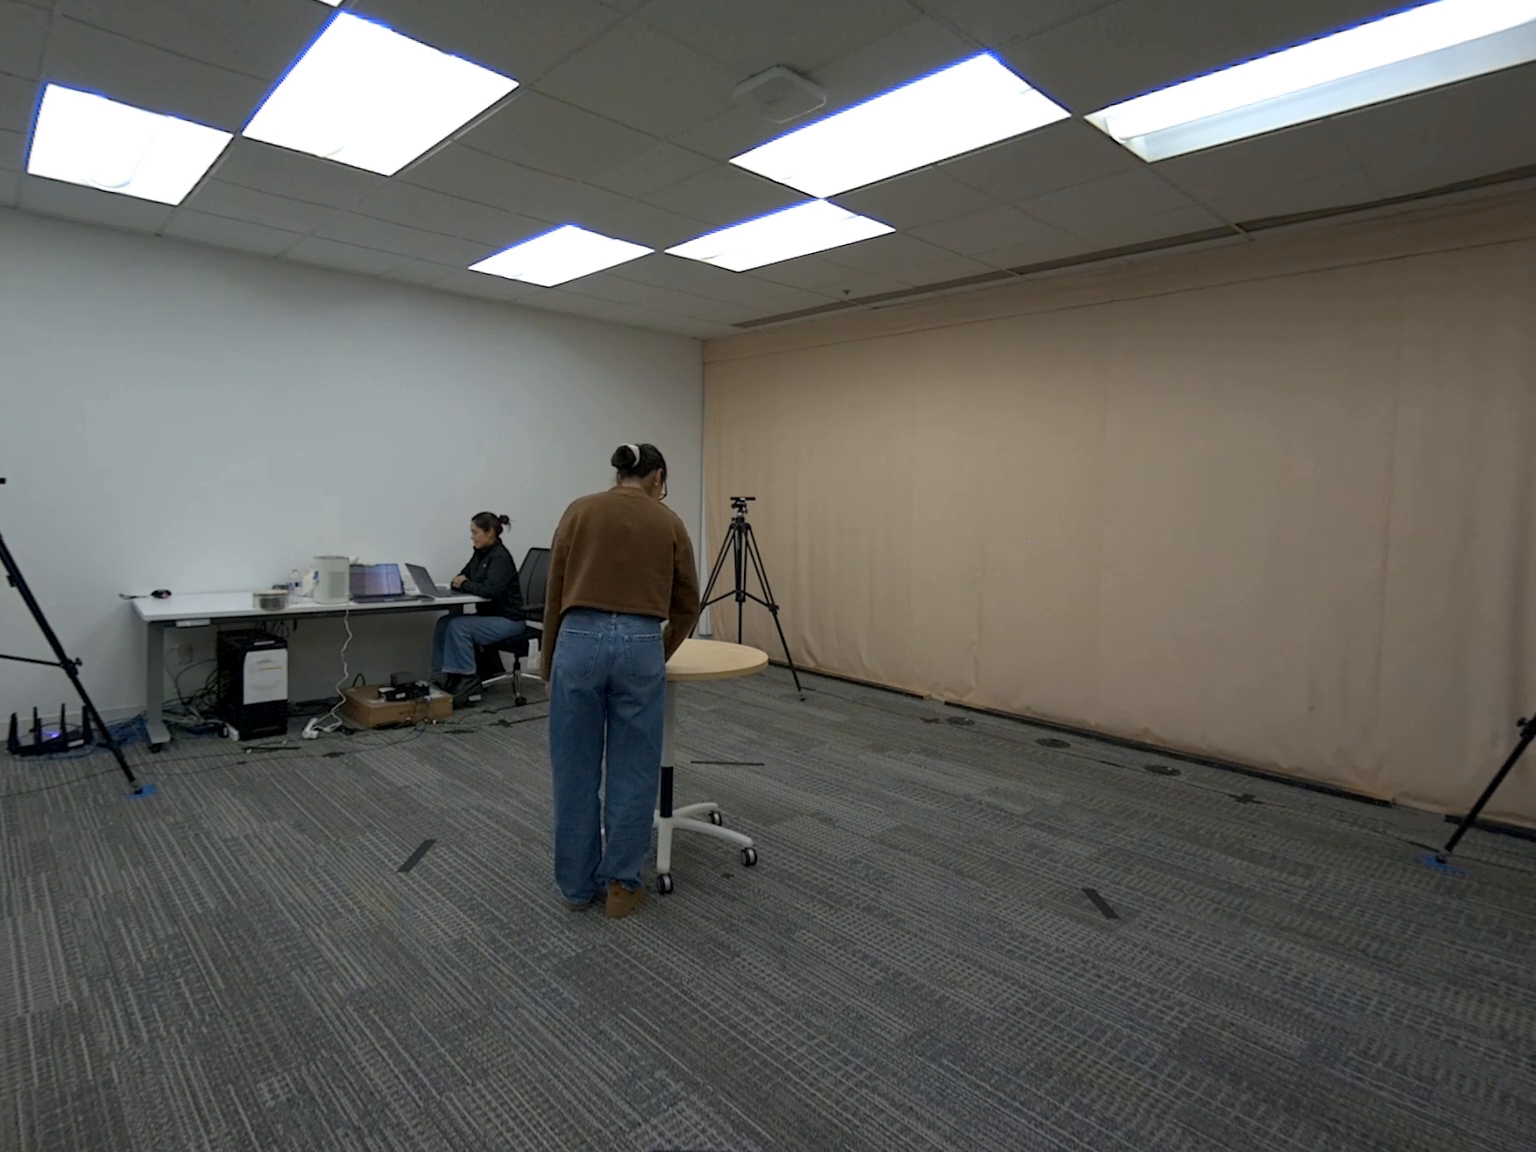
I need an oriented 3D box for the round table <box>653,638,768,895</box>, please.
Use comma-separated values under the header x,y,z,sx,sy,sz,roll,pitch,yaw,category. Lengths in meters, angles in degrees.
x,y,z,sx,sy,sz,roll,pitch,yaw,category
-0.399,0.699,3.296,0.763,0.792,0.766,1,4,-1,round table
